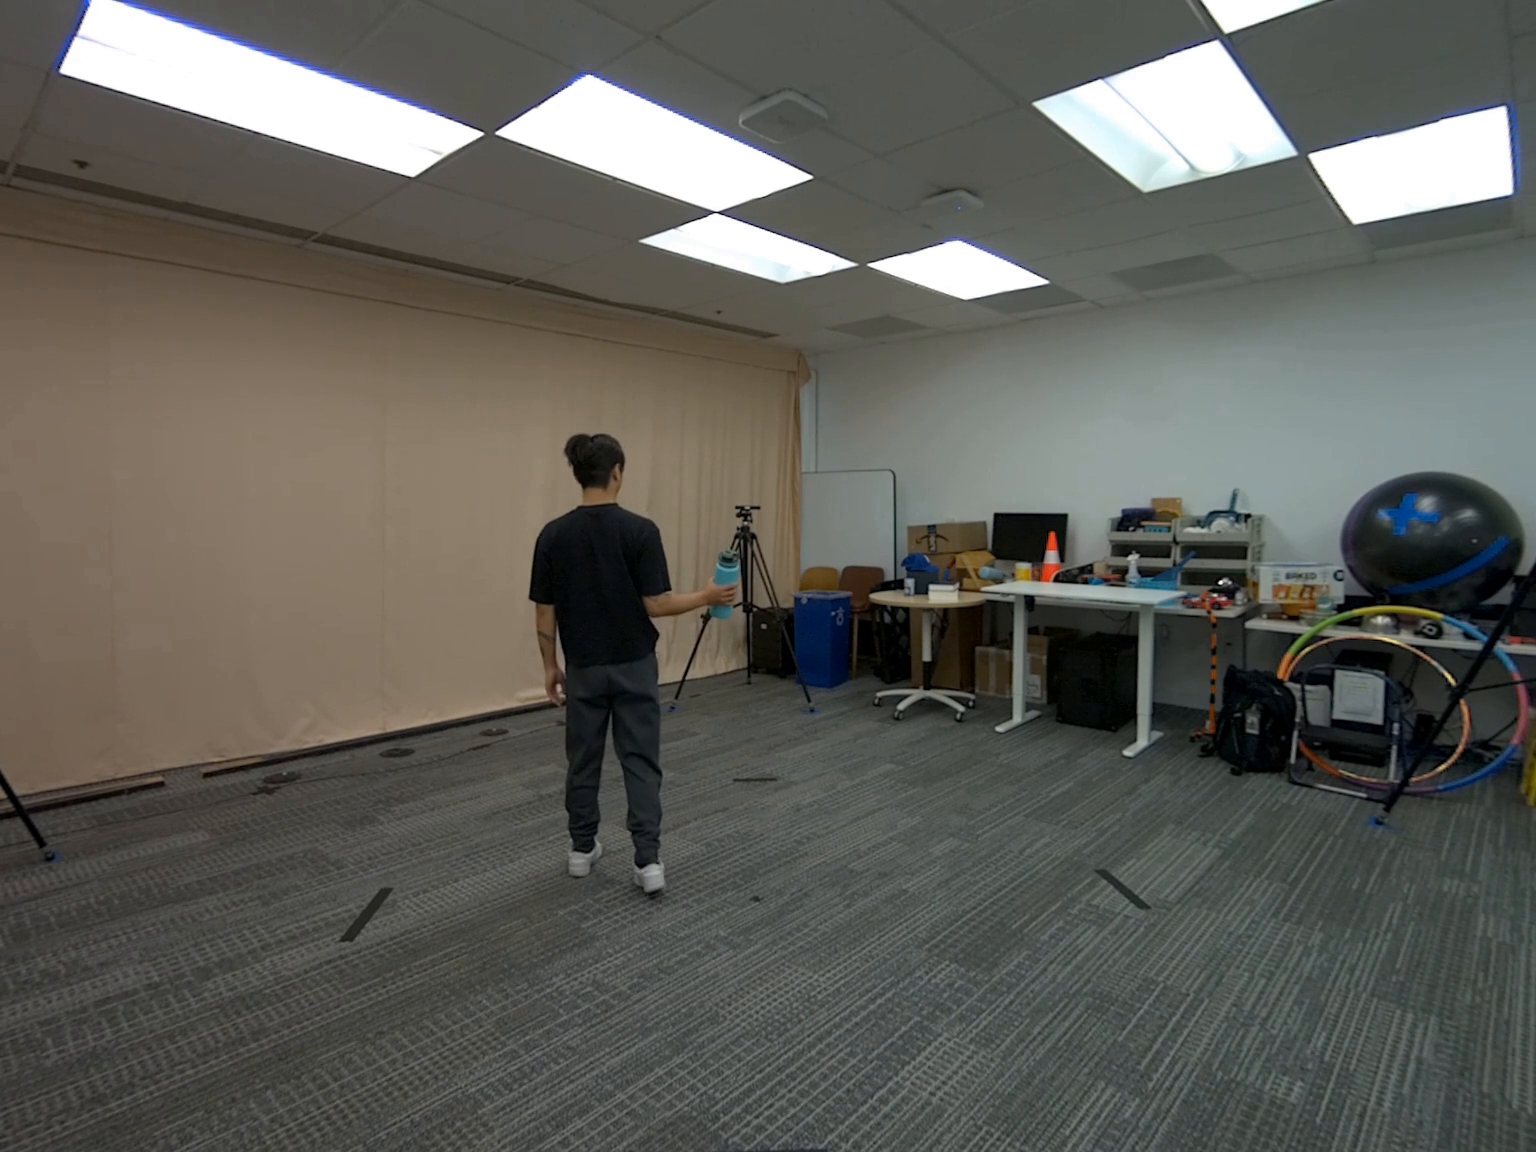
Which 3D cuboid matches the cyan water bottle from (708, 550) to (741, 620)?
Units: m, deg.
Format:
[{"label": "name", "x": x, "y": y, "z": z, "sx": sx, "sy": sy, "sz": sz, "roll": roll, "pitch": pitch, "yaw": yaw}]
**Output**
[{"label": "cyan water bottle", "x": -0.171, "y": 0.025, "z": 3.270, "sx": 0.092, "sy": 0.280, "sz": 0.094, "roll": 6, "pitch": 29, "yaw": -6}]
